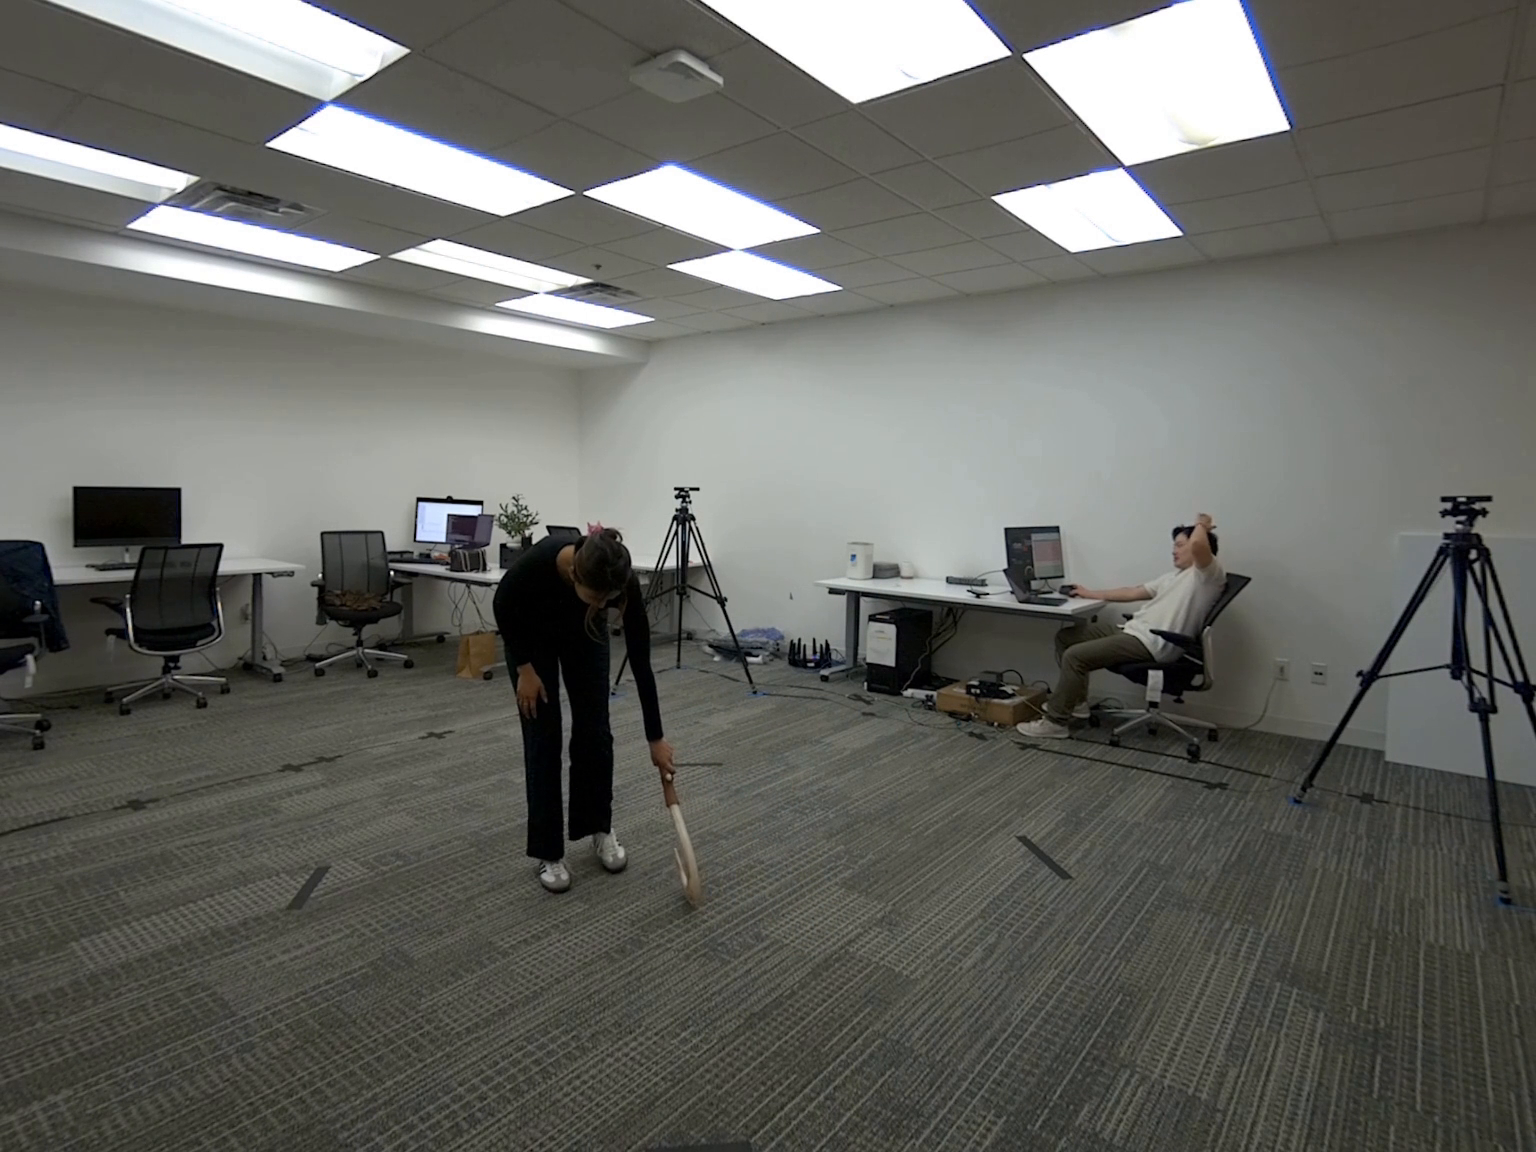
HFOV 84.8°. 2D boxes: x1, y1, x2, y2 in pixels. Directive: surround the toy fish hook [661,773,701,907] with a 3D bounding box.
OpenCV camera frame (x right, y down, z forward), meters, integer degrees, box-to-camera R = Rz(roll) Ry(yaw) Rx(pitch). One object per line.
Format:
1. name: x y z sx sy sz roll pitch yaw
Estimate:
1. toy fish hook: -0.325 0.854 2.925 0.047 0.522 0.222 -3 -31 -23
